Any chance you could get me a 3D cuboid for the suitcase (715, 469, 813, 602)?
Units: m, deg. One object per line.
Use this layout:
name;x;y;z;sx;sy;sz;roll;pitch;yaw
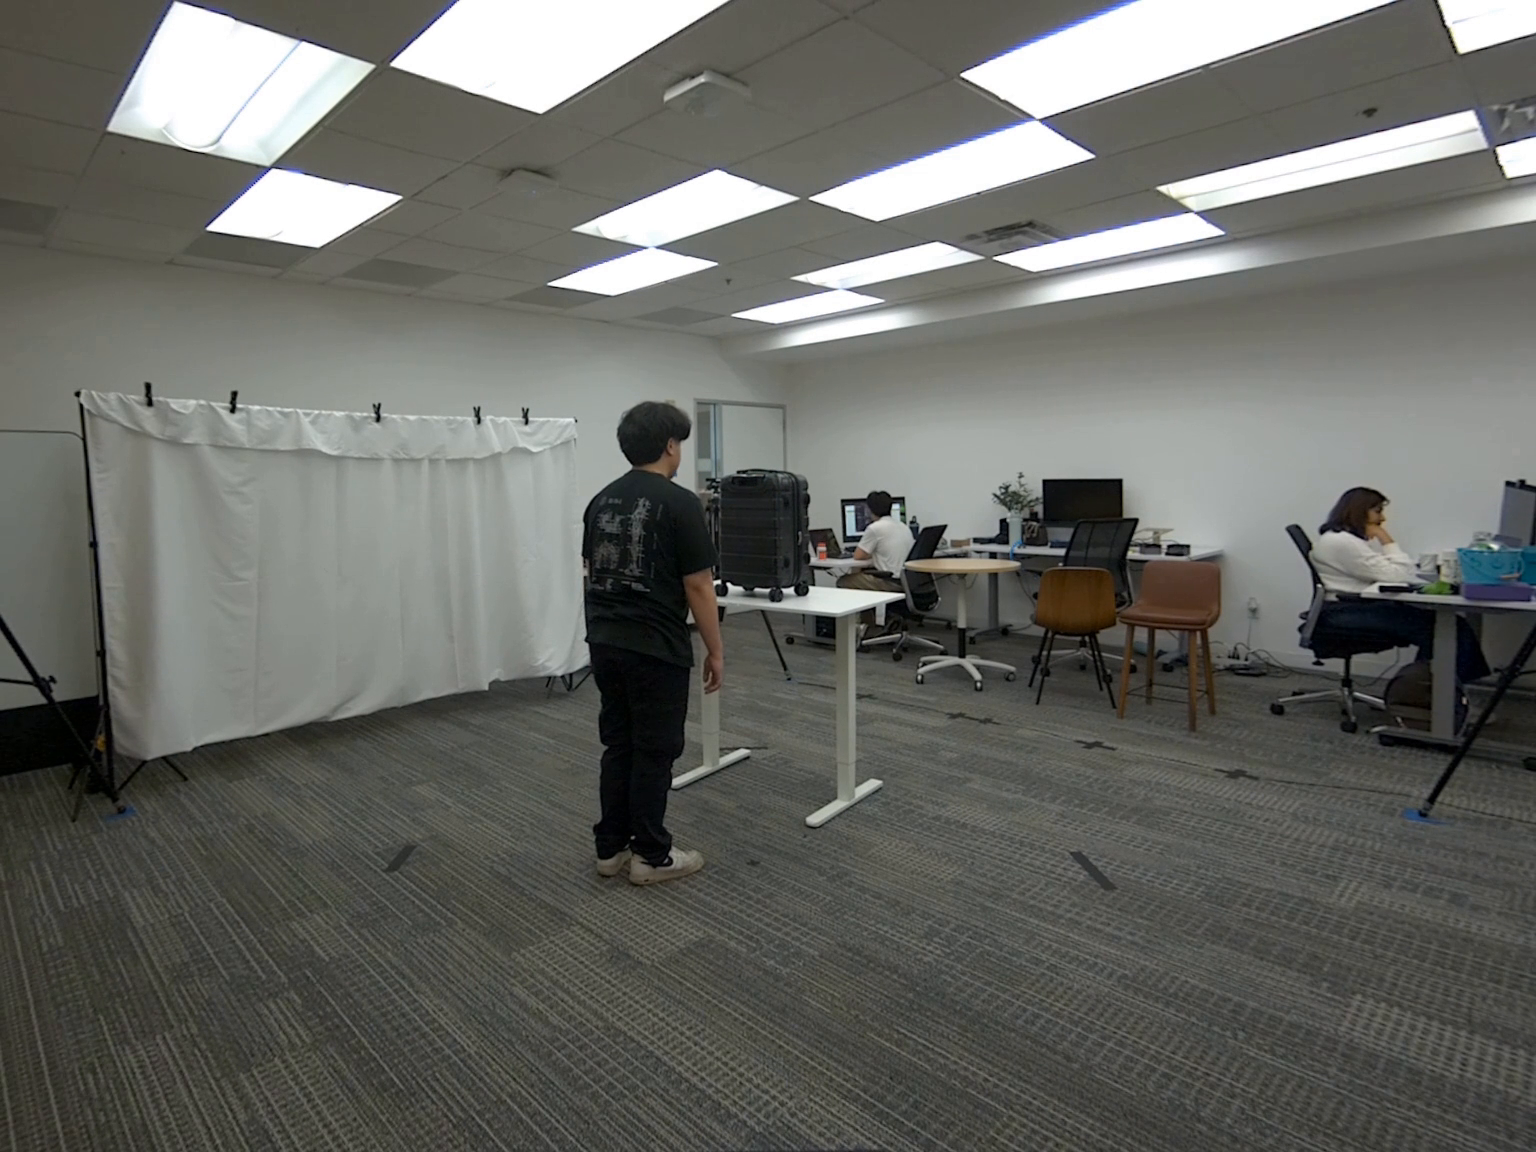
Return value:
suitcase;-0.018;-0.190;3.739;0.386;0.548;0.242;3;4;37
